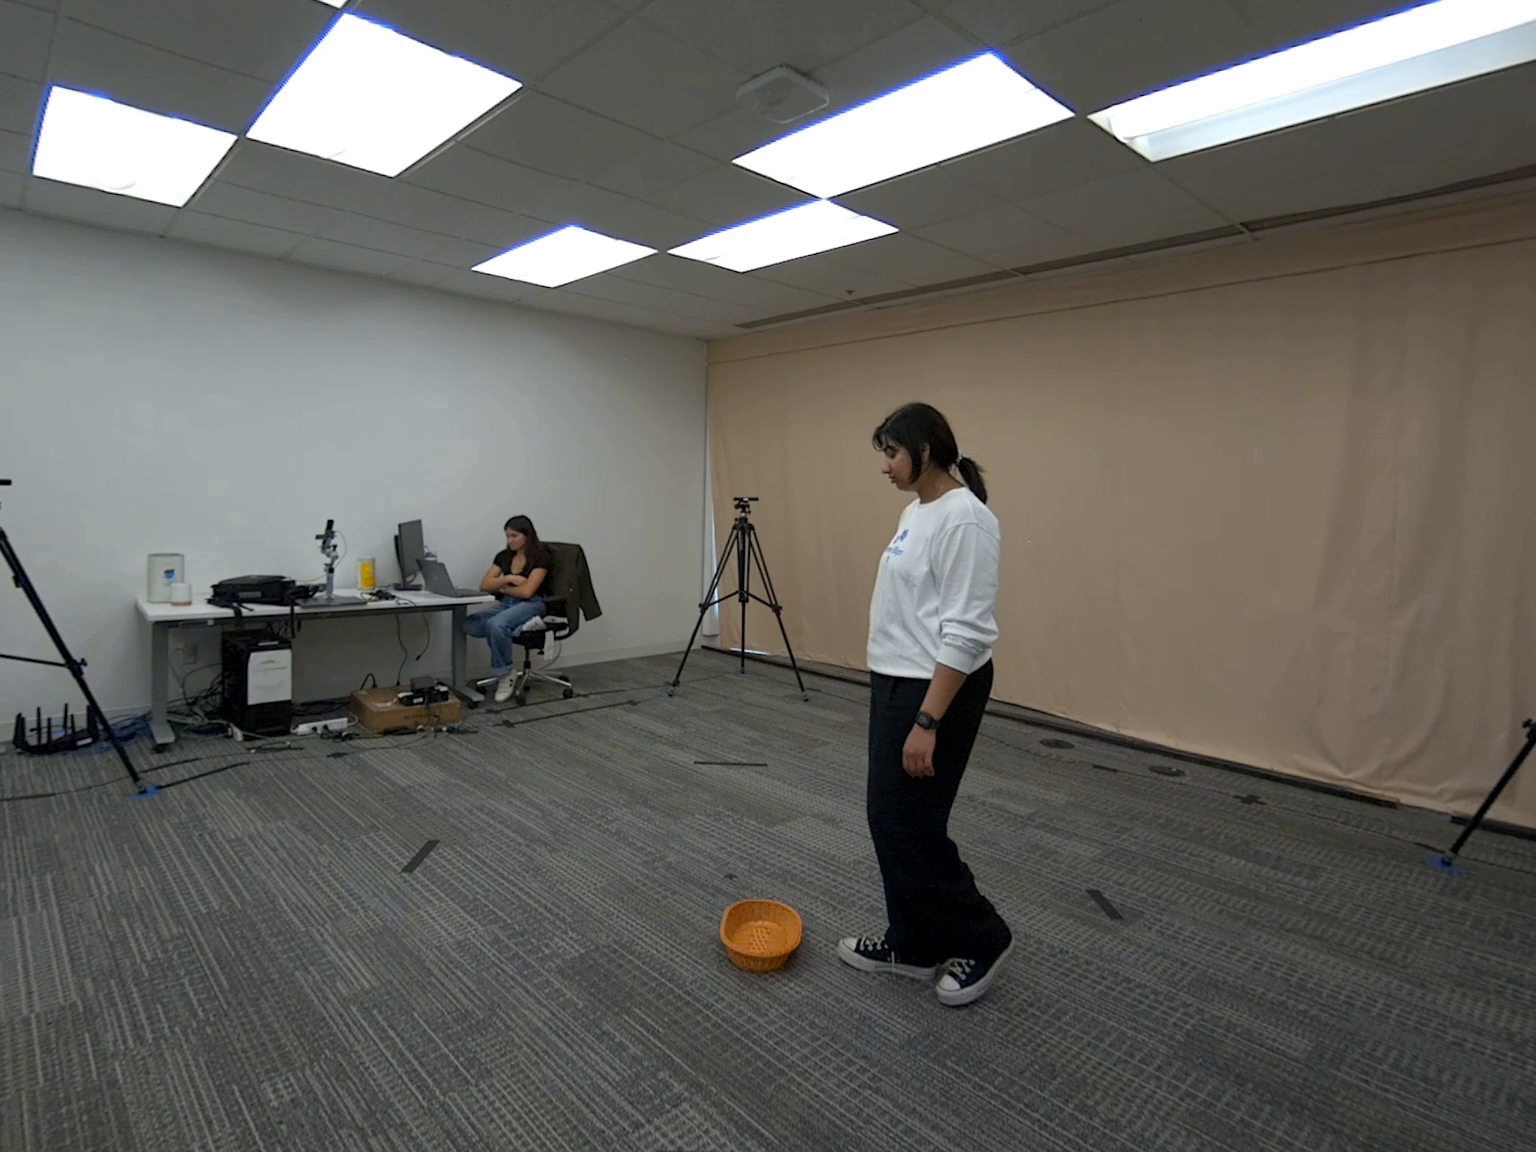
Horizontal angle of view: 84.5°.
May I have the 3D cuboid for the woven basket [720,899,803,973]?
[{"bbox_3d":[-0.022,1.115,2.615,0.254,0.073,0.349,3,5,7],"label":"woven basket"}]
